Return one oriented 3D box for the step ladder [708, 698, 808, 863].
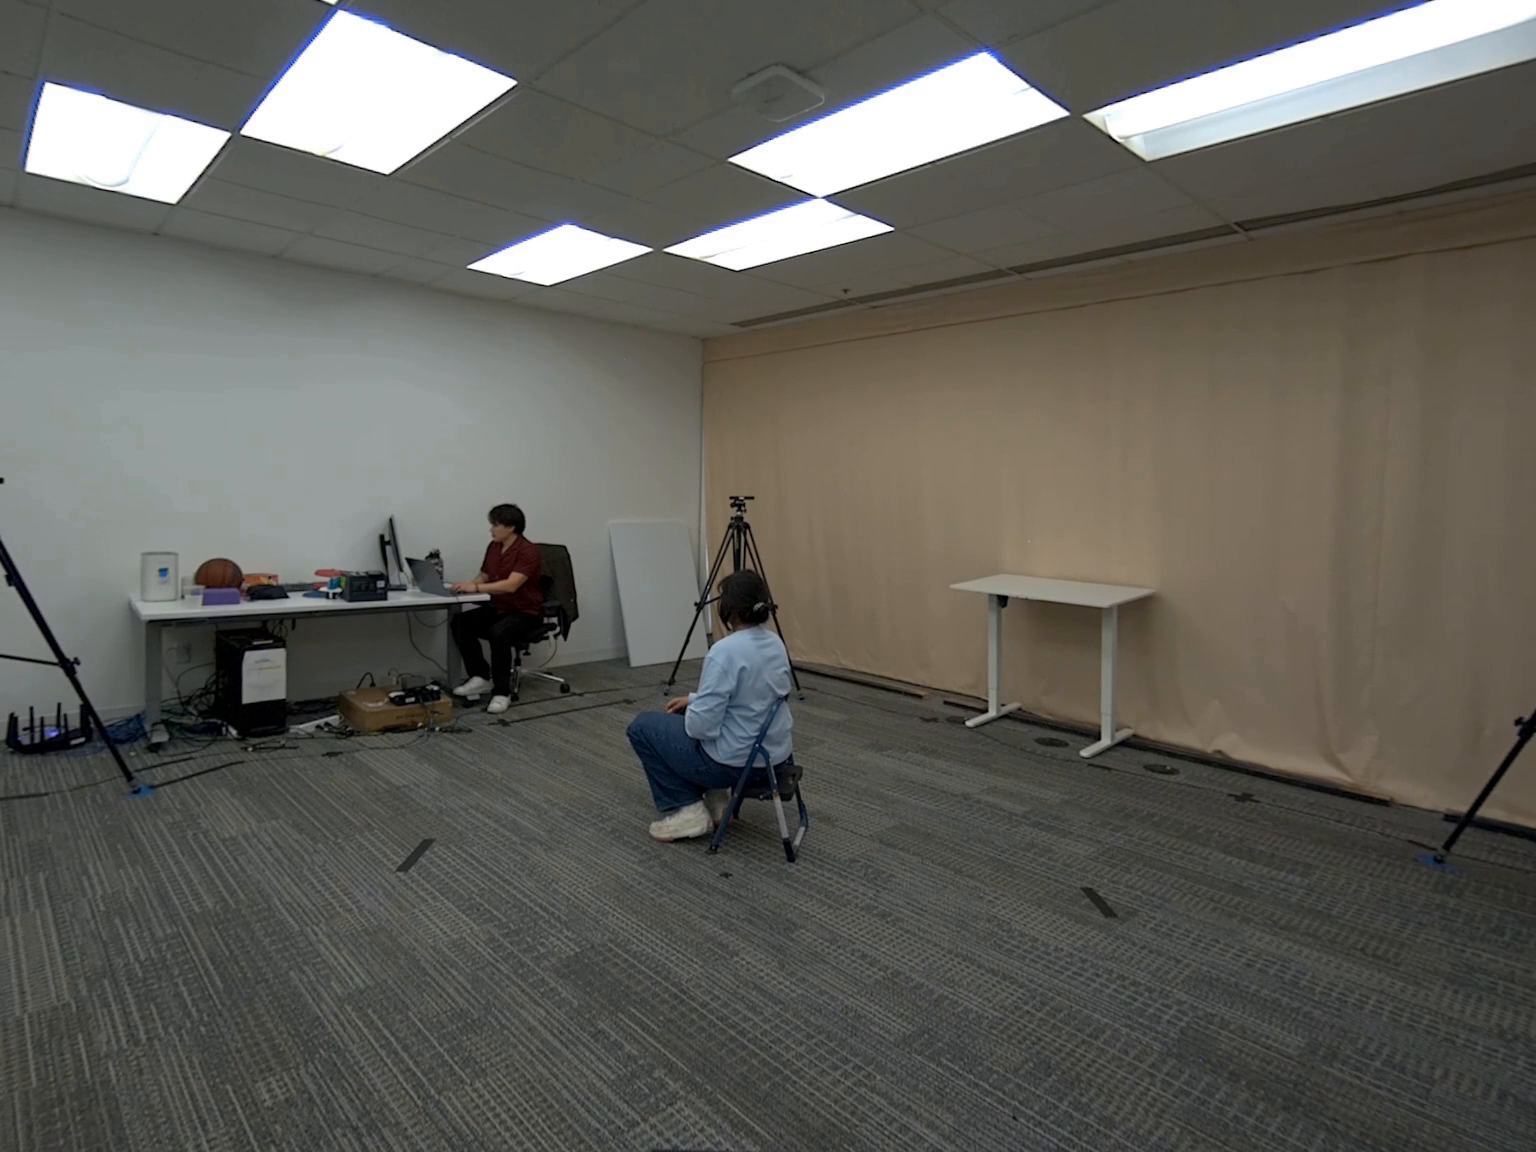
[{"bbox_3d":[-0.027,0.785,3.439,0.352,0.604,0.428,1,4,10],"label":"step ladder"}]
